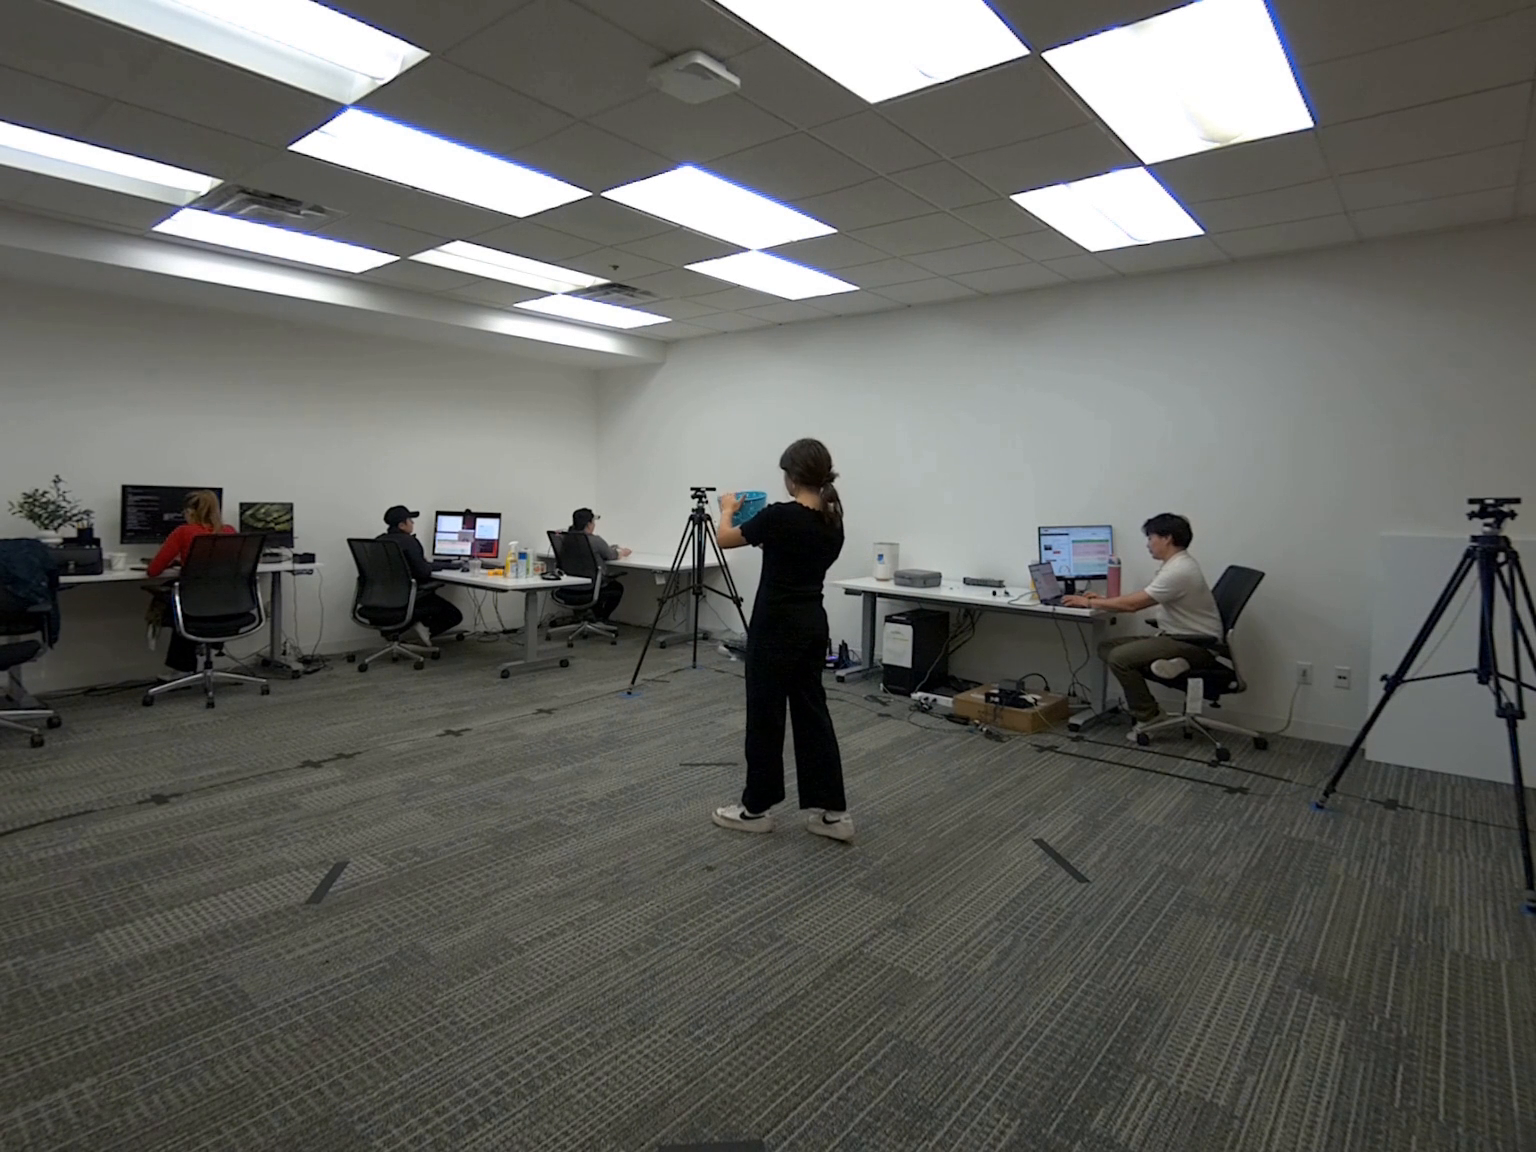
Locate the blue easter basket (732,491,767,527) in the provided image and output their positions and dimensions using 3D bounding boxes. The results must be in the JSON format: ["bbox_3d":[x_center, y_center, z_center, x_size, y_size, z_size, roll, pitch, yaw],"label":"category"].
[{"bbox_3d":[-0.119,-0.281,3.793,0.244,0.154,0.247,-6,13,0],"label":"blue easter basket"}]
